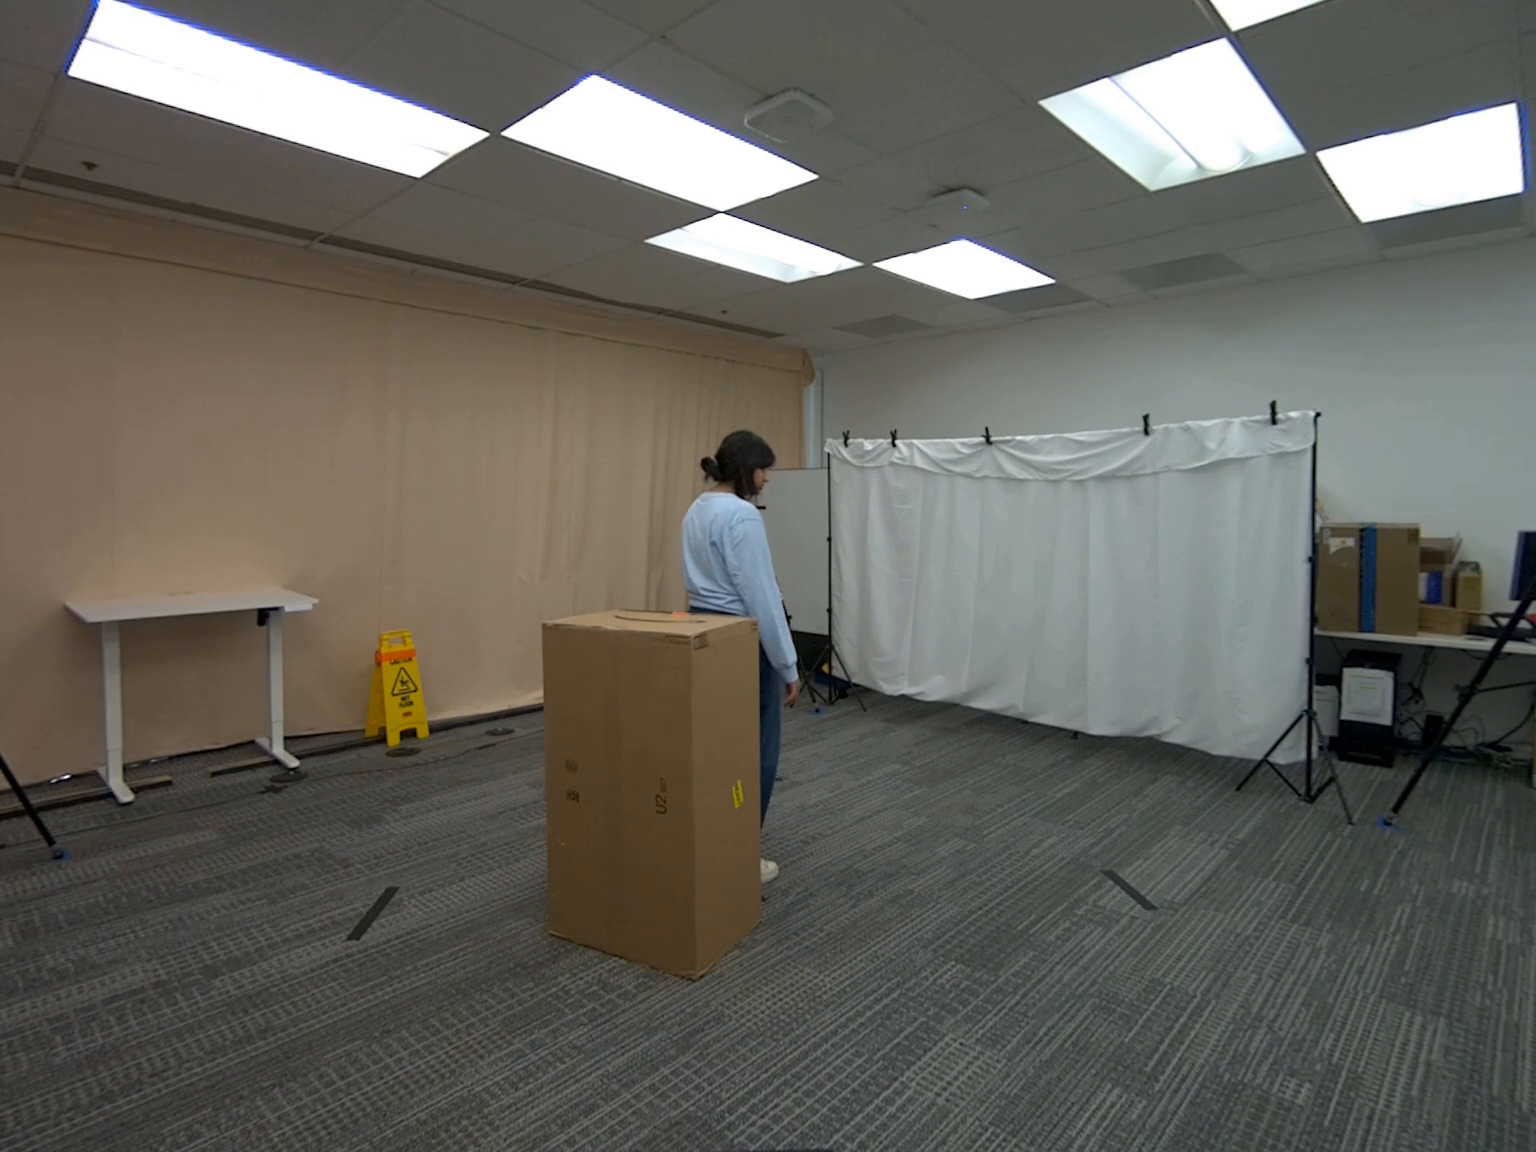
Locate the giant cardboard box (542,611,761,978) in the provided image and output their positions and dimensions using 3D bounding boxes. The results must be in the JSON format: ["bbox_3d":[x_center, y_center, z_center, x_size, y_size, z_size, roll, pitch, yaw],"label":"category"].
[{"bbox_3d":[-0.380,0.655,2.764,0.594,1.024,0.415,1,3,29],"label":"giant cardboard box"}]
